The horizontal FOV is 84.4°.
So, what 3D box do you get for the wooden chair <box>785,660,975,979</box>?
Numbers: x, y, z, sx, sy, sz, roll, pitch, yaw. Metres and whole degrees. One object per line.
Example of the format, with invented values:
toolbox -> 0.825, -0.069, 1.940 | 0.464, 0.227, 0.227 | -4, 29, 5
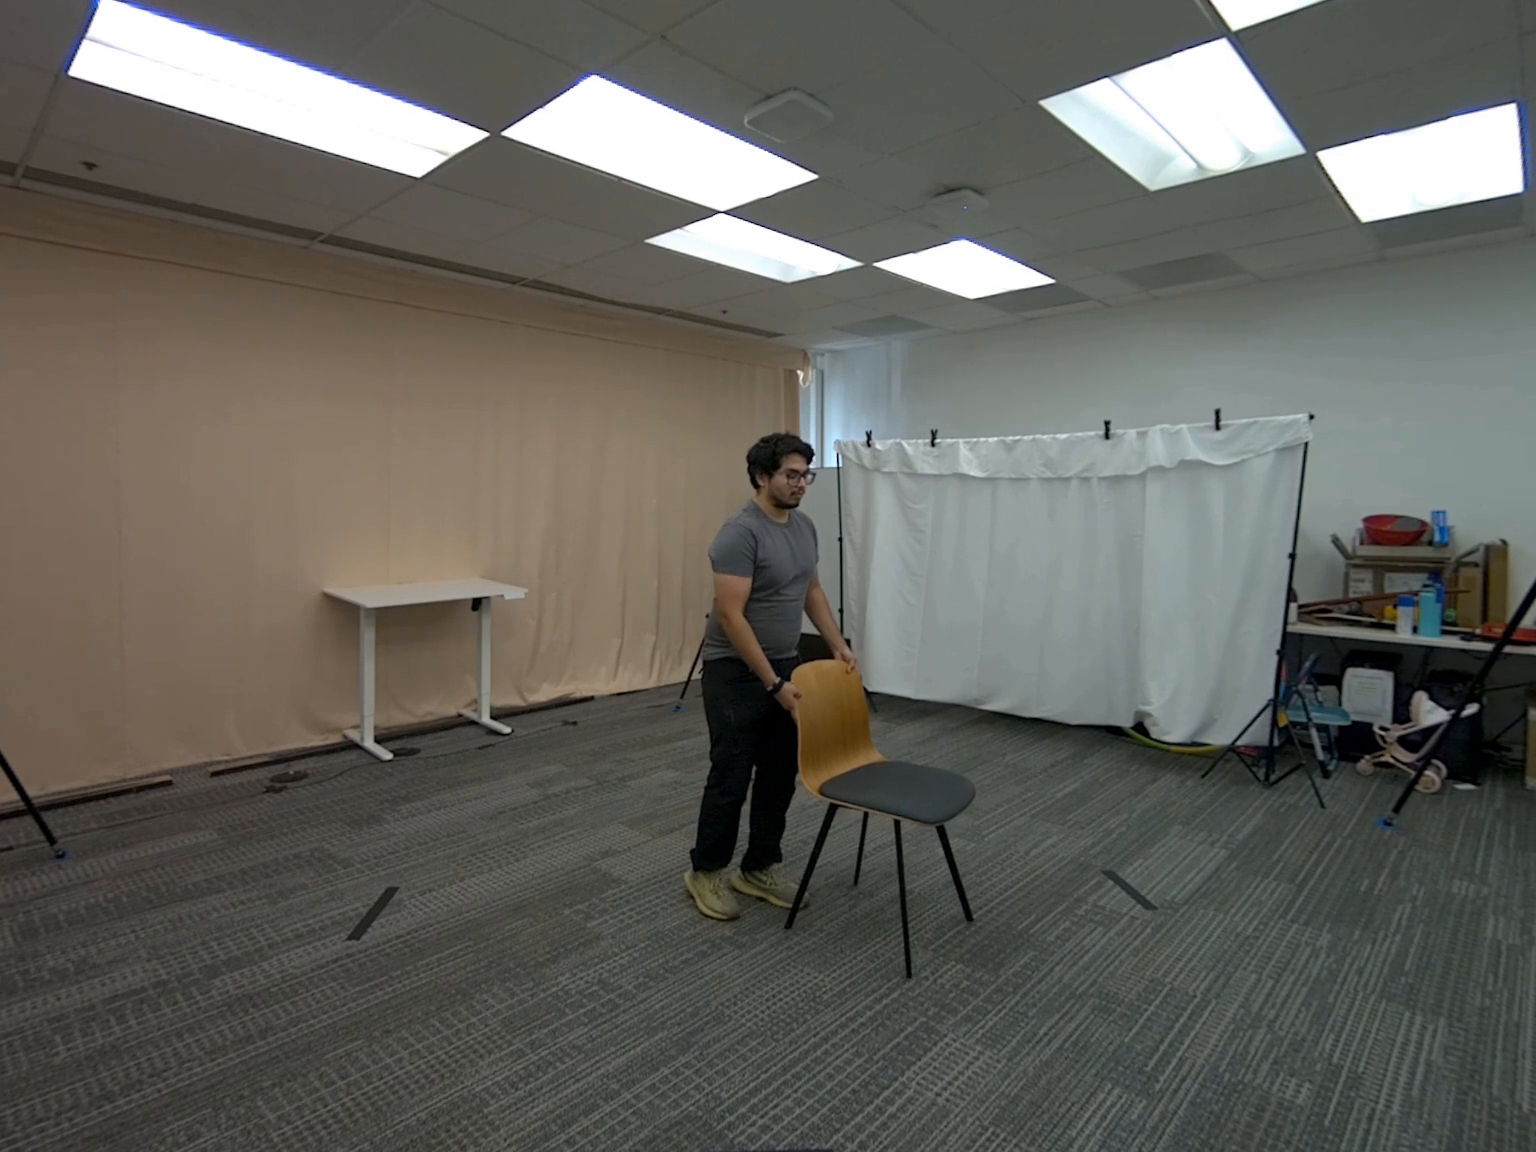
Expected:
wooden chair -> 0.378, 0.729, 2.755 | 0.539, 0.877, 0.464 | -3, 0, 38
